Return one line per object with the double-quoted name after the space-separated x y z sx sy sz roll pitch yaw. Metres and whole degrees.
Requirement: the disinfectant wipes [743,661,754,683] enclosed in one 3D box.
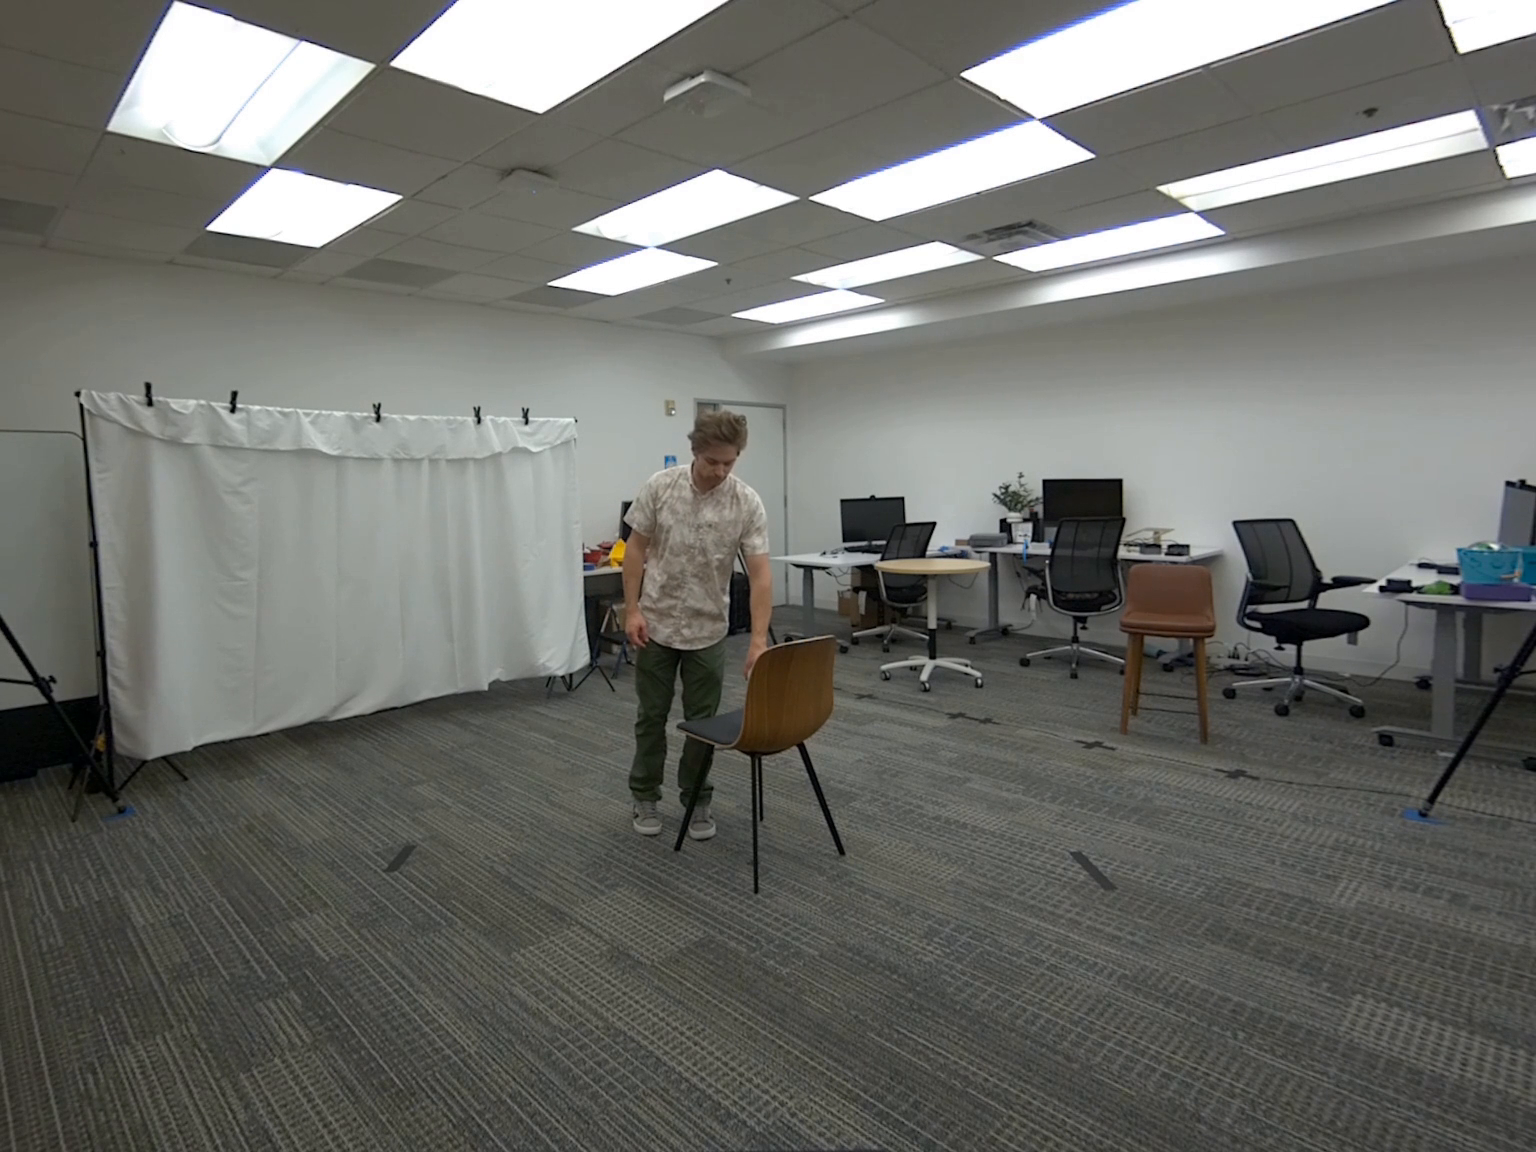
-0.010 0.455 3.136 0.117 0.216 0.119 3 8 -2 "disinfectant wipes"
